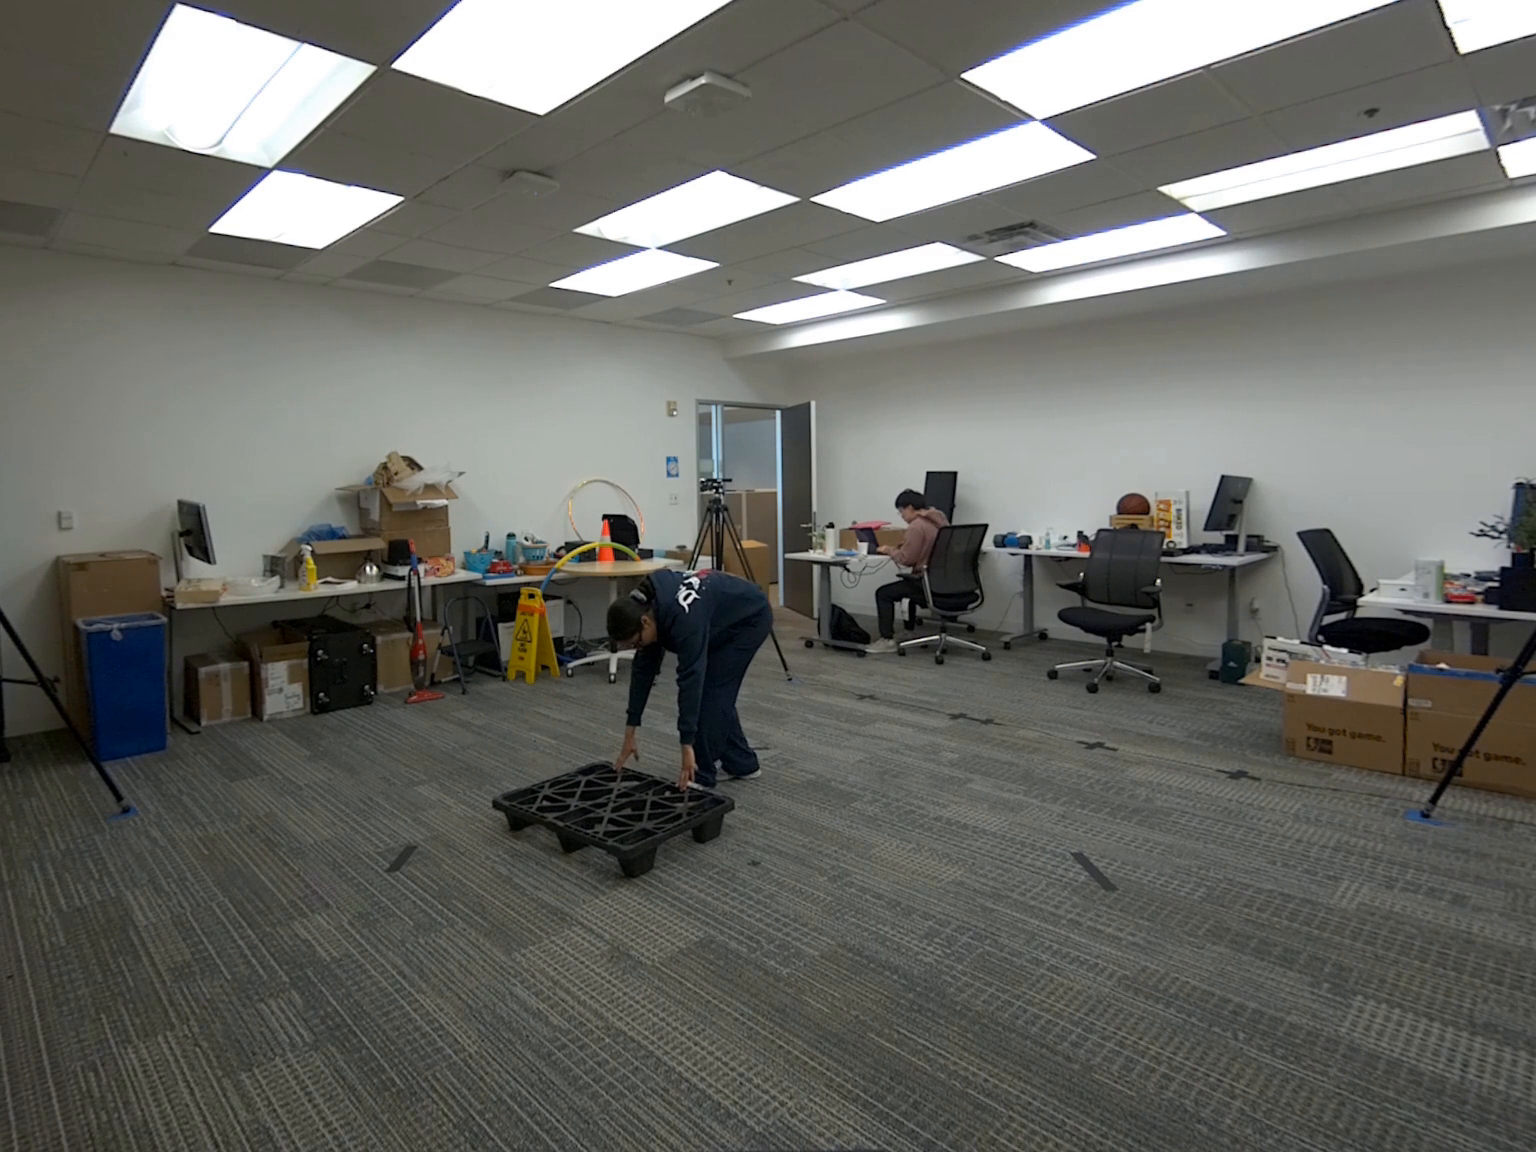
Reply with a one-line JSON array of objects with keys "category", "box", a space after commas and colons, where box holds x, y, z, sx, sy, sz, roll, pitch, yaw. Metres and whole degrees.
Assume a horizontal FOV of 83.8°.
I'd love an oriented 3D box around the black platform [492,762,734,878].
[{"category": "black platform", "box": [-0.619, 0.954, 3.412, 0.830, 0.143, 0.589, 4, 7, 39]}]
